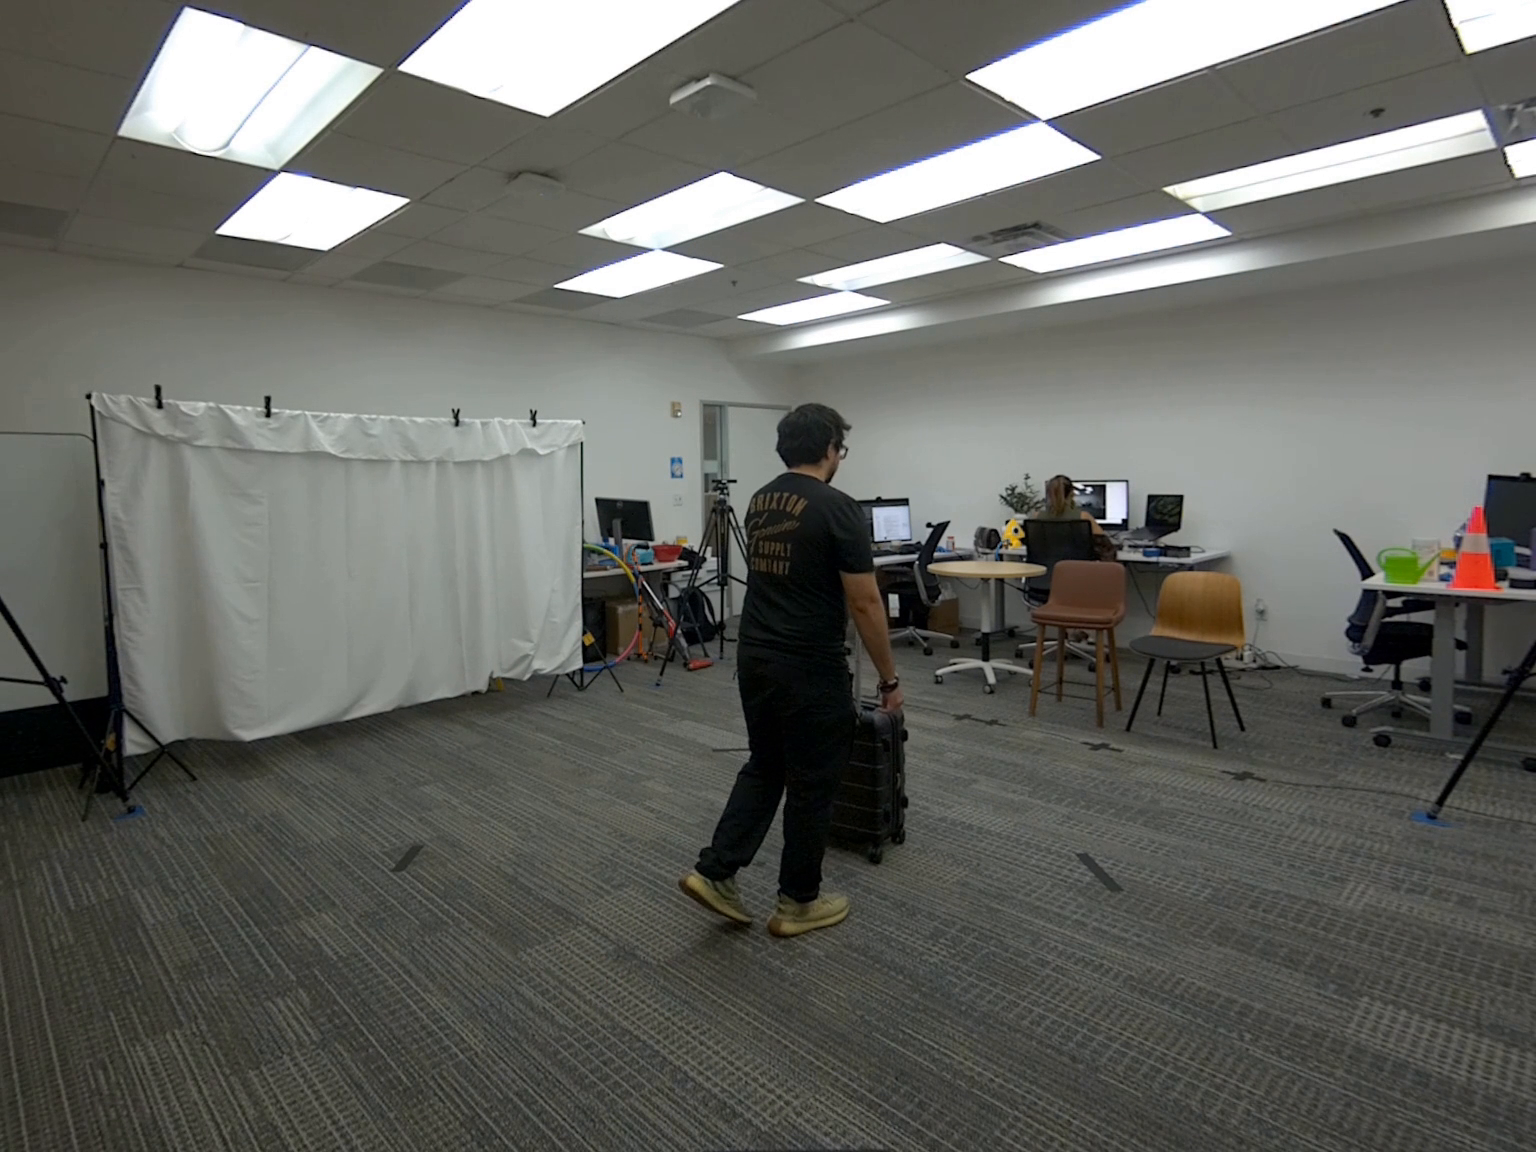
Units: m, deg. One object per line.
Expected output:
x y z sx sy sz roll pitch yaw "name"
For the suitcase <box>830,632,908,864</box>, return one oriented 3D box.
0.337 0.548 3.286 0.394 0.979 0.250 1 -1 34 "suitcase"
